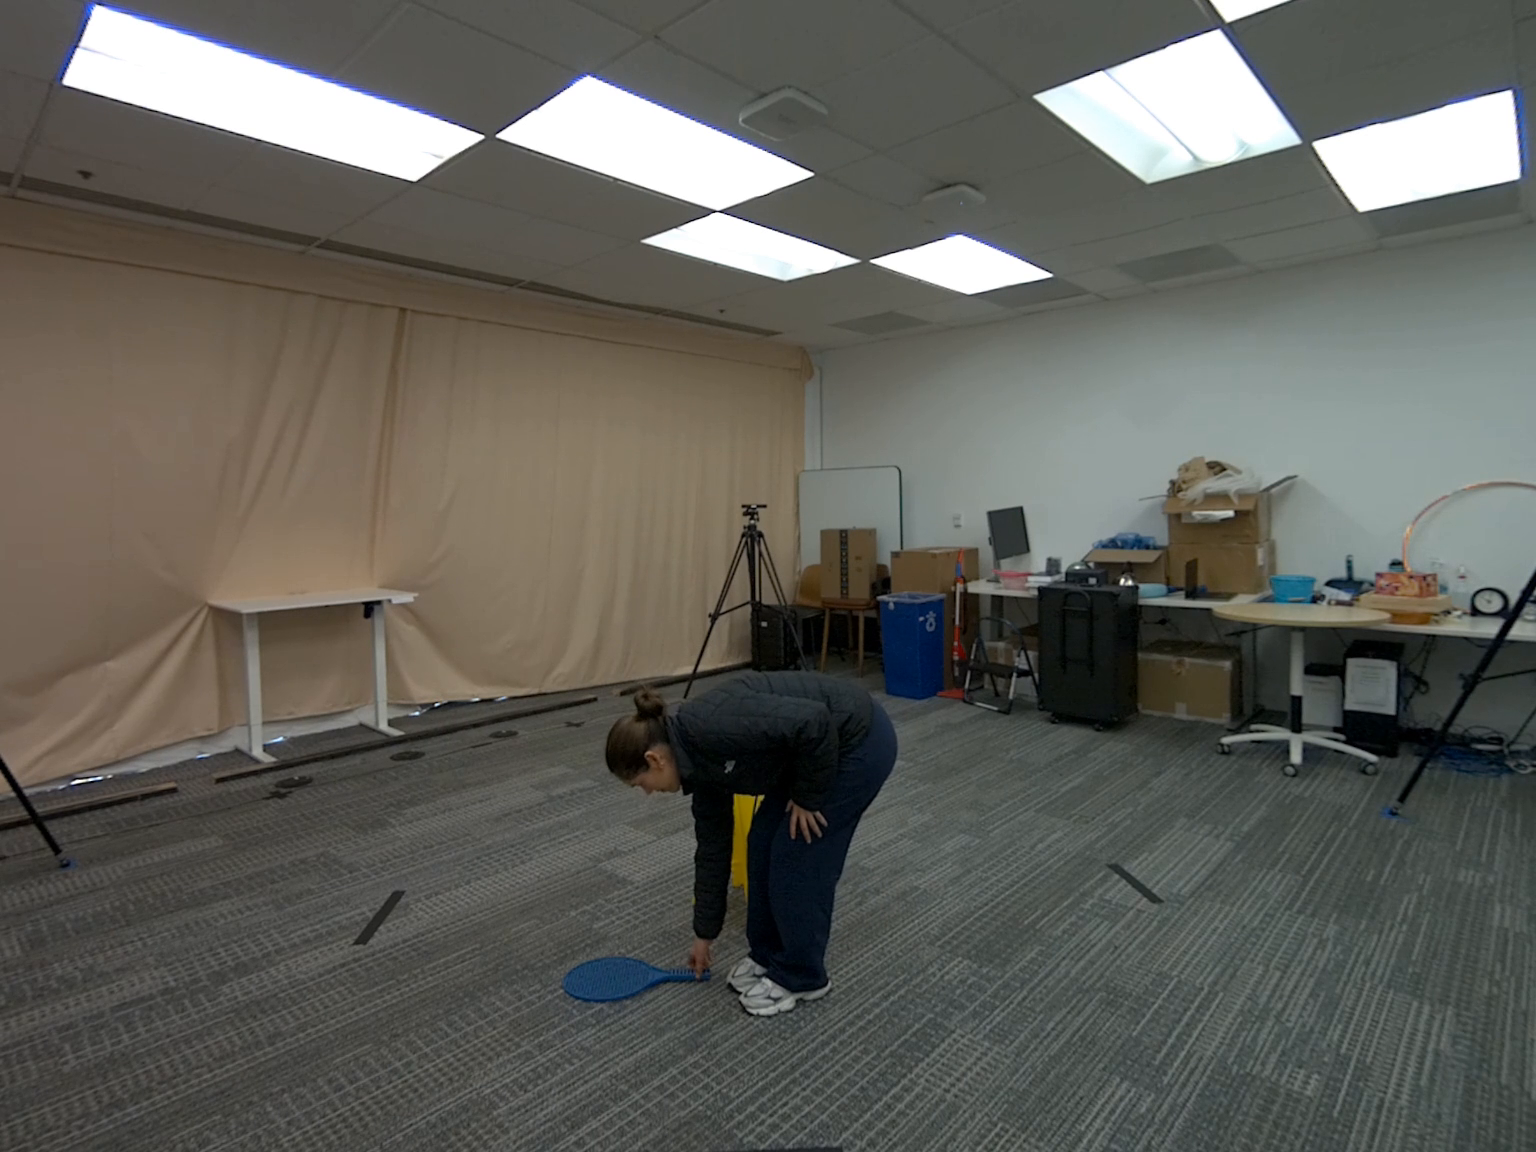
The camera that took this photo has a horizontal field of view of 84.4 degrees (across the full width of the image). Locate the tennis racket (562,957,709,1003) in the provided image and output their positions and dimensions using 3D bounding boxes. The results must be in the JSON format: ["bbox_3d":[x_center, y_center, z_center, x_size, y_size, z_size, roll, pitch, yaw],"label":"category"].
[{"bbox_3d":[-0.366,1.177,2.475,0.433,0.032,0.214,-3,5,0],"label":"tennis racket"}]
